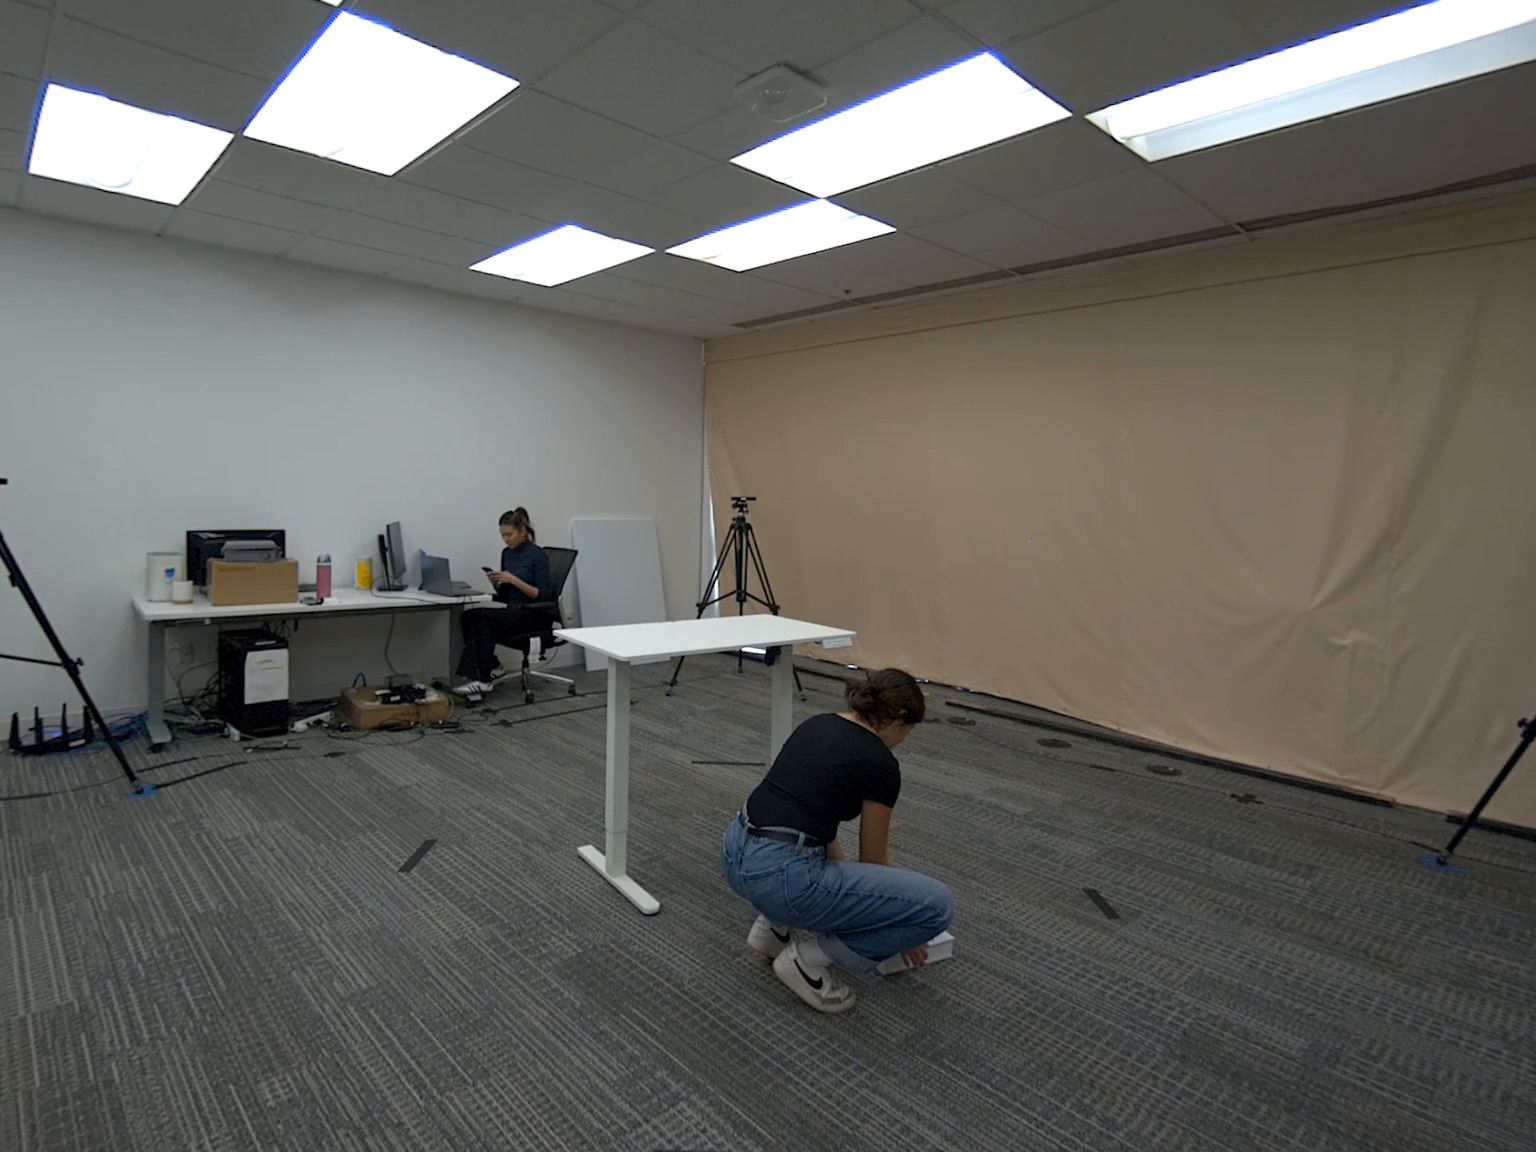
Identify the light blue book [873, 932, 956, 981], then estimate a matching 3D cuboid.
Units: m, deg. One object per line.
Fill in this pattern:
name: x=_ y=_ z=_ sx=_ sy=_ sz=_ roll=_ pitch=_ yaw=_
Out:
light blue book: x=0.408 y=1.136 z=2.610 sx=0.256 sy=0.059 sz=0.196 roll=-2 pitch=7 yaw=-28
